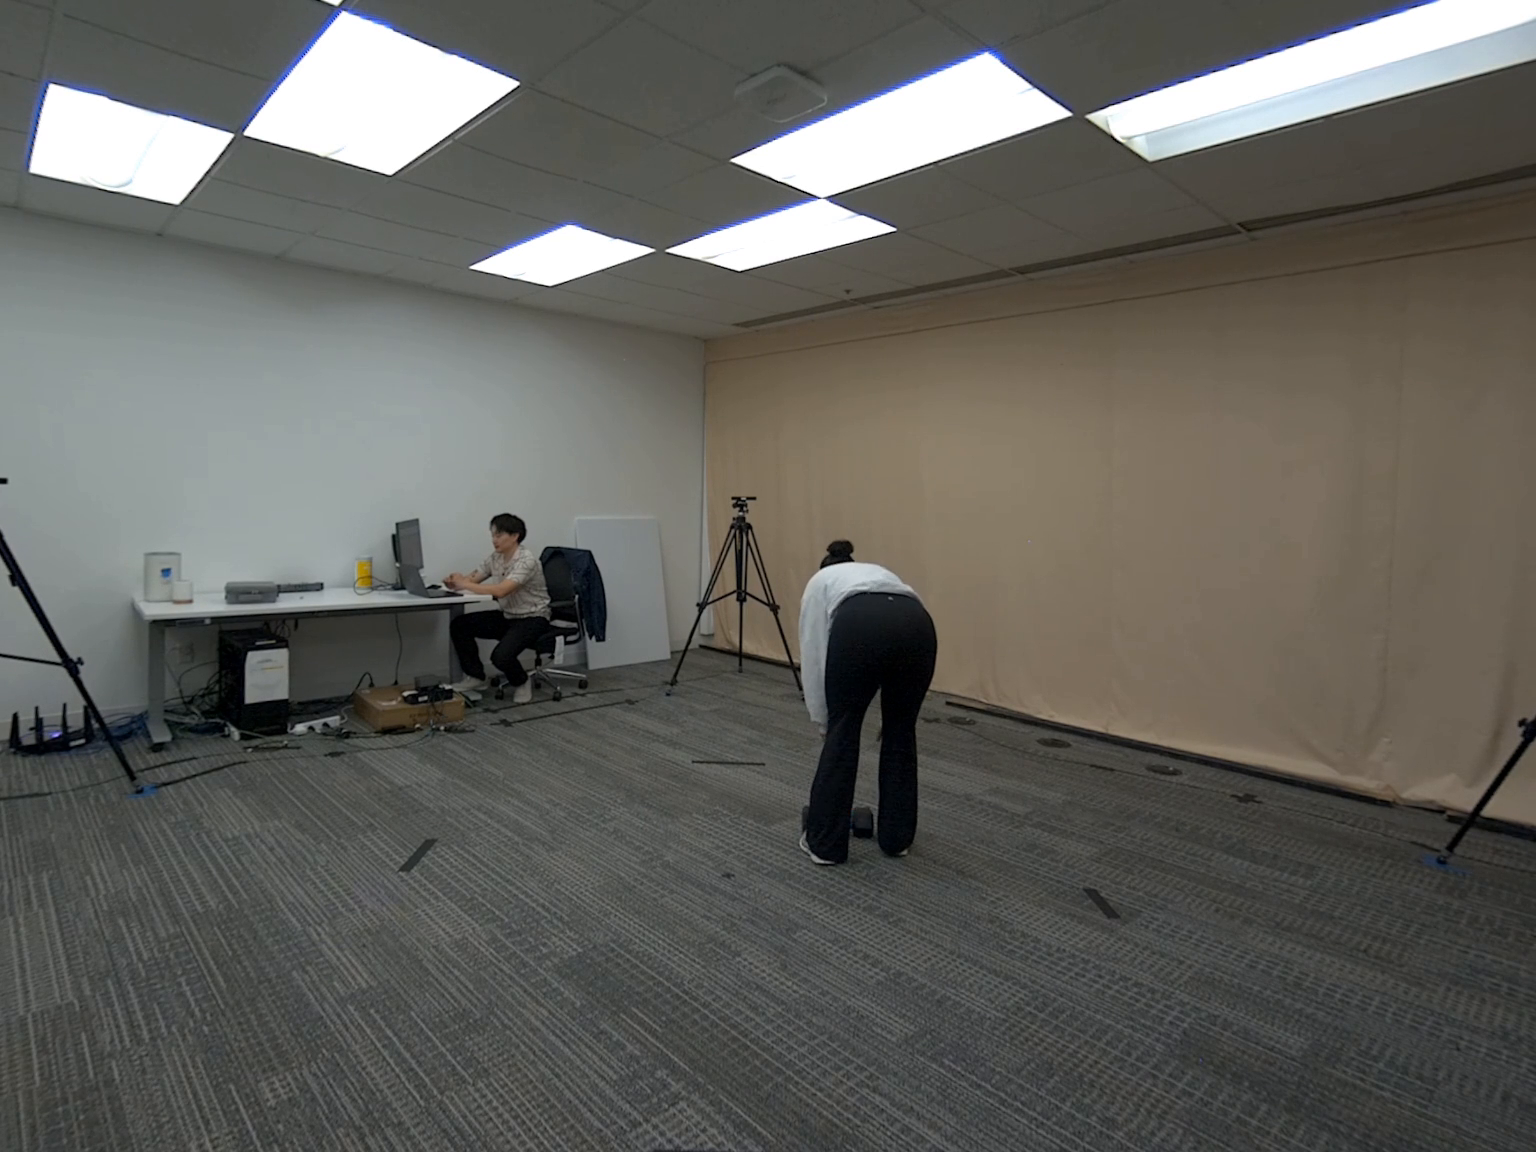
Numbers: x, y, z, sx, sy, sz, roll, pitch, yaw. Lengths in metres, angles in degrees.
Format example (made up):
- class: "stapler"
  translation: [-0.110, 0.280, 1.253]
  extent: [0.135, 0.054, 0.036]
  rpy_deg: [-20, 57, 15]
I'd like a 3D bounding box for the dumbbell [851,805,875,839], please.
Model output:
- class: "dumbbell"
  translation: [0.286, 1.032, 3.518]
  extent: [0.294, 0.120, 0.111]
  rpy_deg: [1, 35, 0]
